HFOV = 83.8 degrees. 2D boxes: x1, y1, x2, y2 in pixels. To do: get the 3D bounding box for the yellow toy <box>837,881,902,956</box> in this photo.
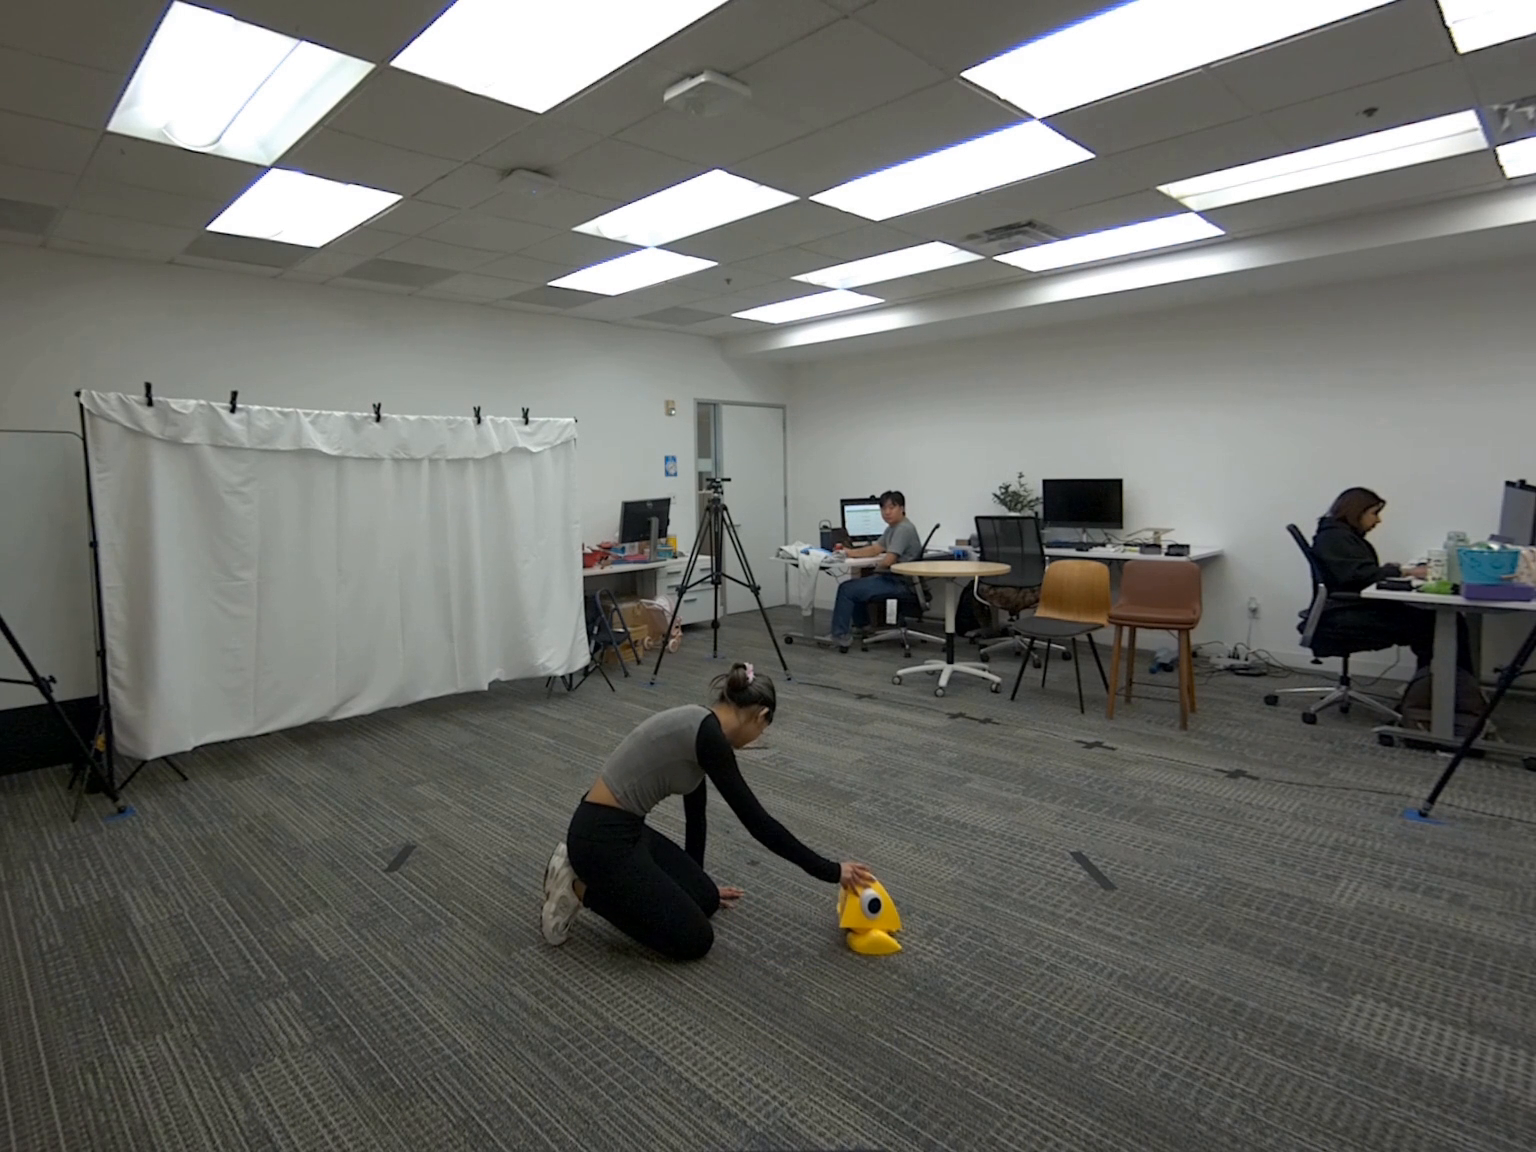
[{"bbox_3d":[0.306,0.978,2.589,0.194,0.230,0.204,-2,5,5],"label":"yellow toy"}]
